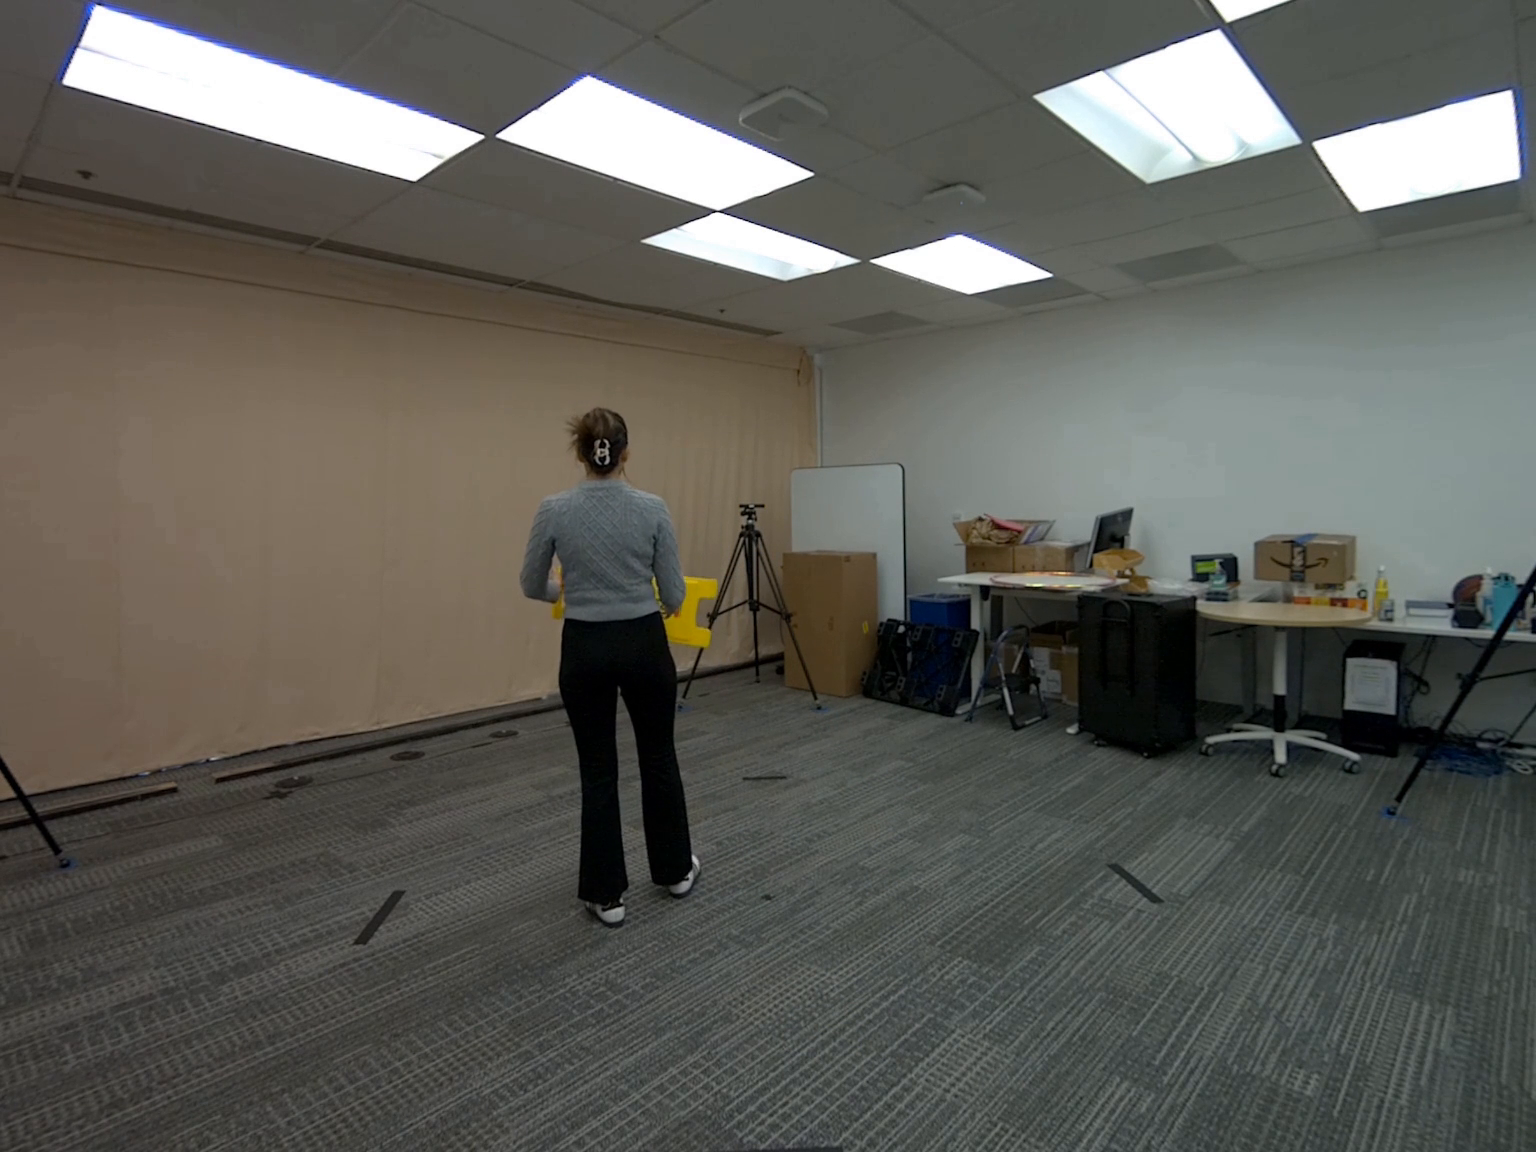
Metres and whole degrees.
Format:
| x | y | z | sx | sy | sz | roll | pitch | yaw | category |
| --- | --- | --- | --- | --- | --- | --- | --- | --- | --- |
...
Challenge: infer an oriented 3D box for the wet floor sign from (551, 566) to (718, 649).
| x | y | z | sx | sy | sz | roll | pitch | yaw | category |
| --- | --- | --- | --- | --- | --- | --- | --- | --- | --- |
| -0.565 | 0.108 | 3.378 | 0.625 | 0.282 | 0.299 | 10 | -3 | -35 | wet floor sign |
